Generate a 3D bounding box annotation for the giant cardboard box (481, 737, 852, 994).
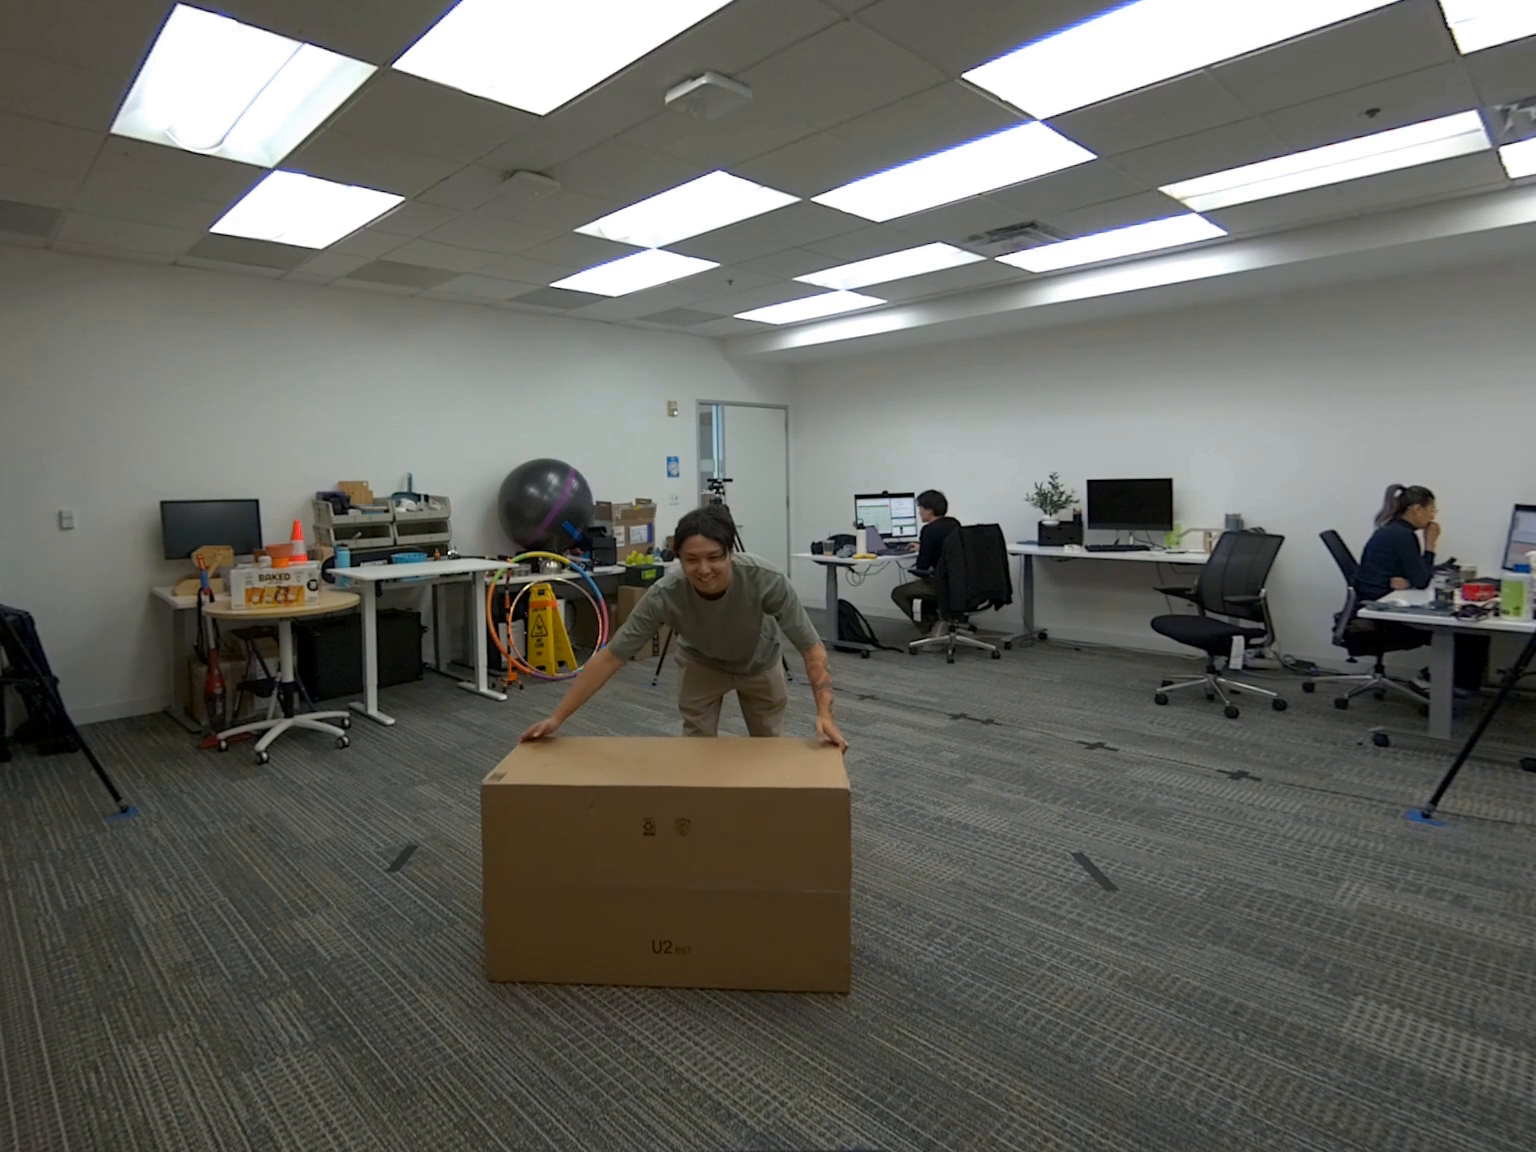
[{"bbox_3d":[-0.271,0.816,2.541,1.030,0.575,0.426,0,4,4],"label":"giant cardboard box"}]
